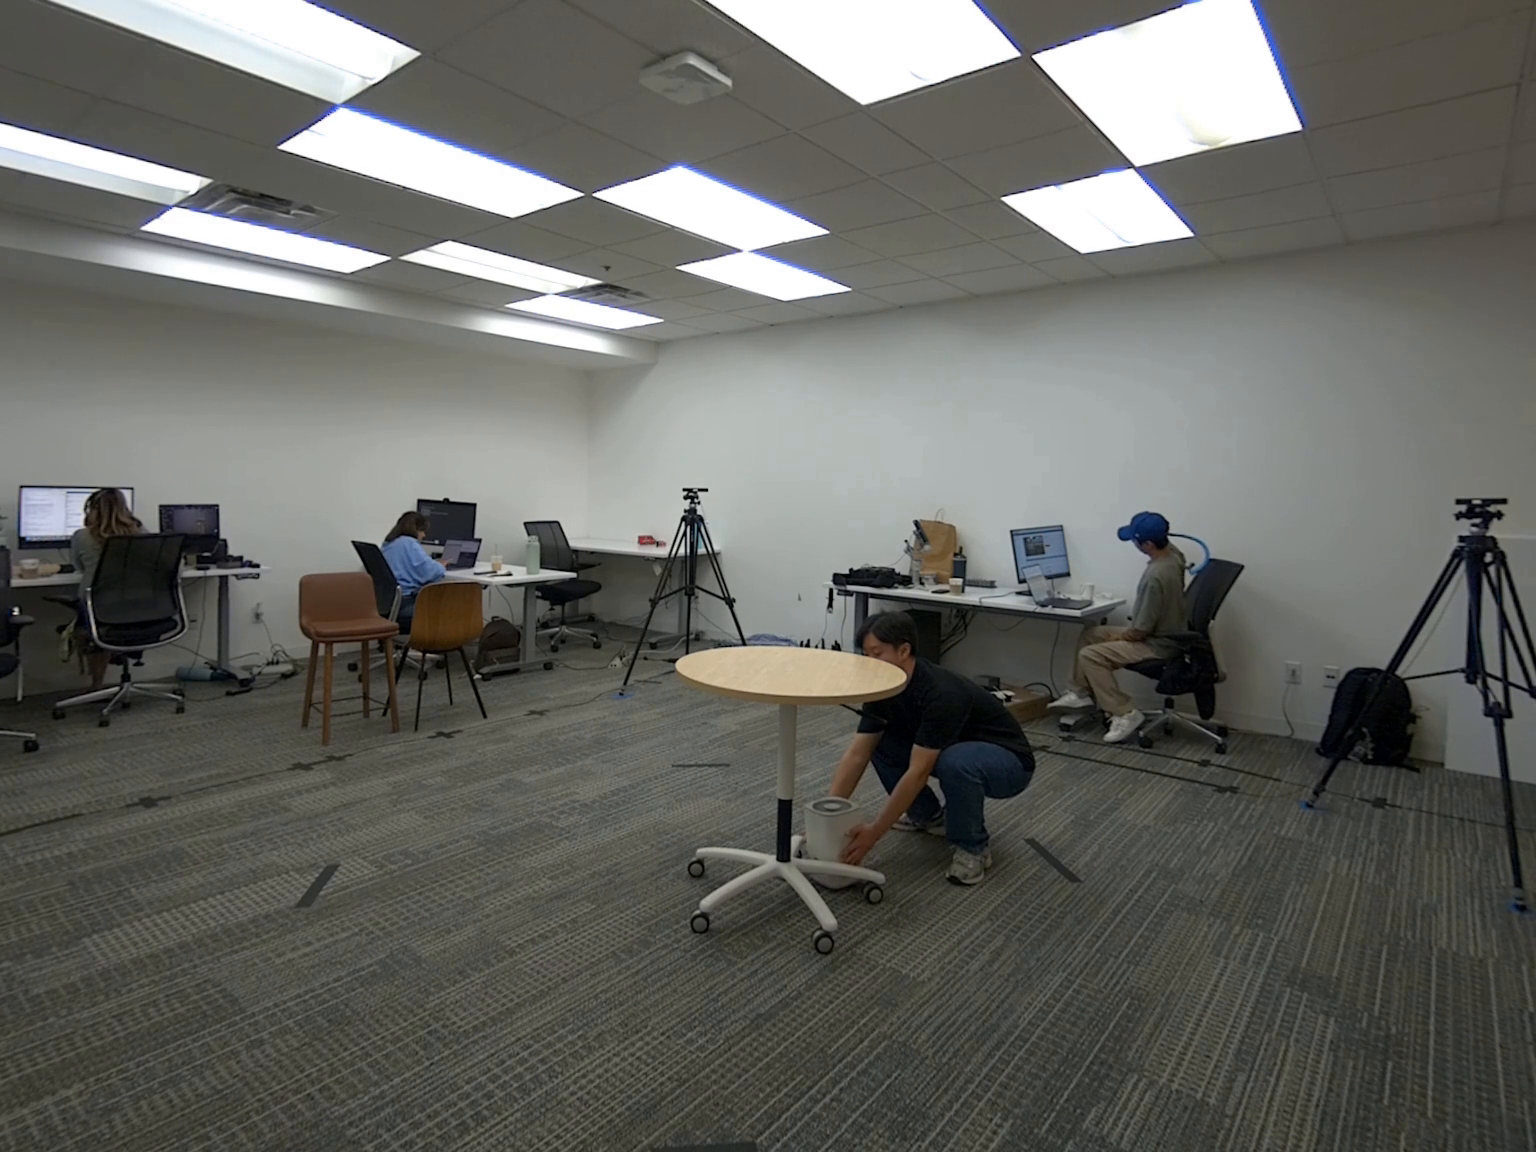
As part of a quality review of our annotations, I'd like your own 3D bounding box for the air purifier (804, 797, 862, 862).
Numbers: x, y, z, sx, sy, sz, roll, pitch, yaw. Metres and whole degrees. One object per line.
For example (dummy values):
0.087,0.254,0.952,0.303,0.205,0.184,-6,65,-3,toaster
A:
0.227,0.944,3.044,0.167,0.265,0.176,-5,2,-37,air purifier
